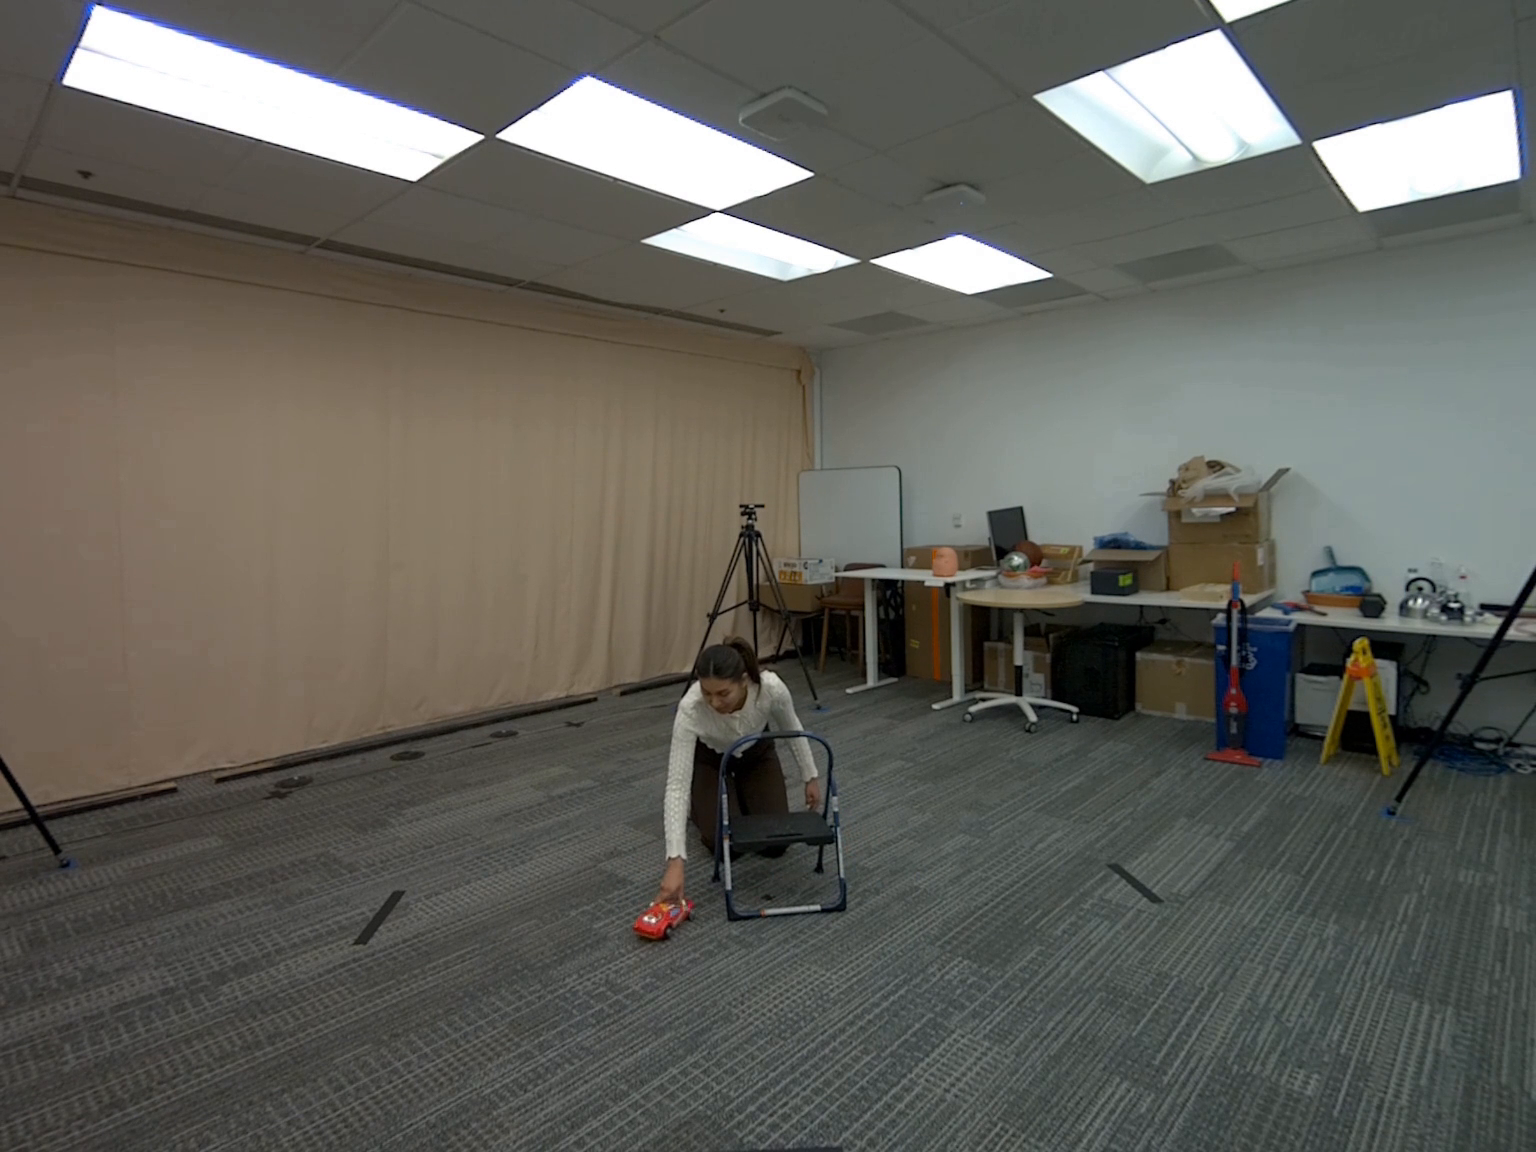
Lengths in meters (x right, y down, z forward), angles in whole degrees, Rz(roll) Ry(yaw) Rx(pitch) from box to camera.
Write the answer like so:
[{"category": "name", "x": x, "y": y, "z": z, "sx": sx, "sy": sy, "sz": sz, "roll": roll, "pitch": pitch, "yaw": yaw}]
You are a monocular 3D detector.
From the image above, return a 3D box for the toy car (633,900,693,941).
[{"category": "toy car", "x": -0.345, "y": 1.126, "z": 2.779, "sx": 0.134, "sy": 0.083, "sz": 0.246, "roll": 3, "pitch": -6, "yaw": 30}]
